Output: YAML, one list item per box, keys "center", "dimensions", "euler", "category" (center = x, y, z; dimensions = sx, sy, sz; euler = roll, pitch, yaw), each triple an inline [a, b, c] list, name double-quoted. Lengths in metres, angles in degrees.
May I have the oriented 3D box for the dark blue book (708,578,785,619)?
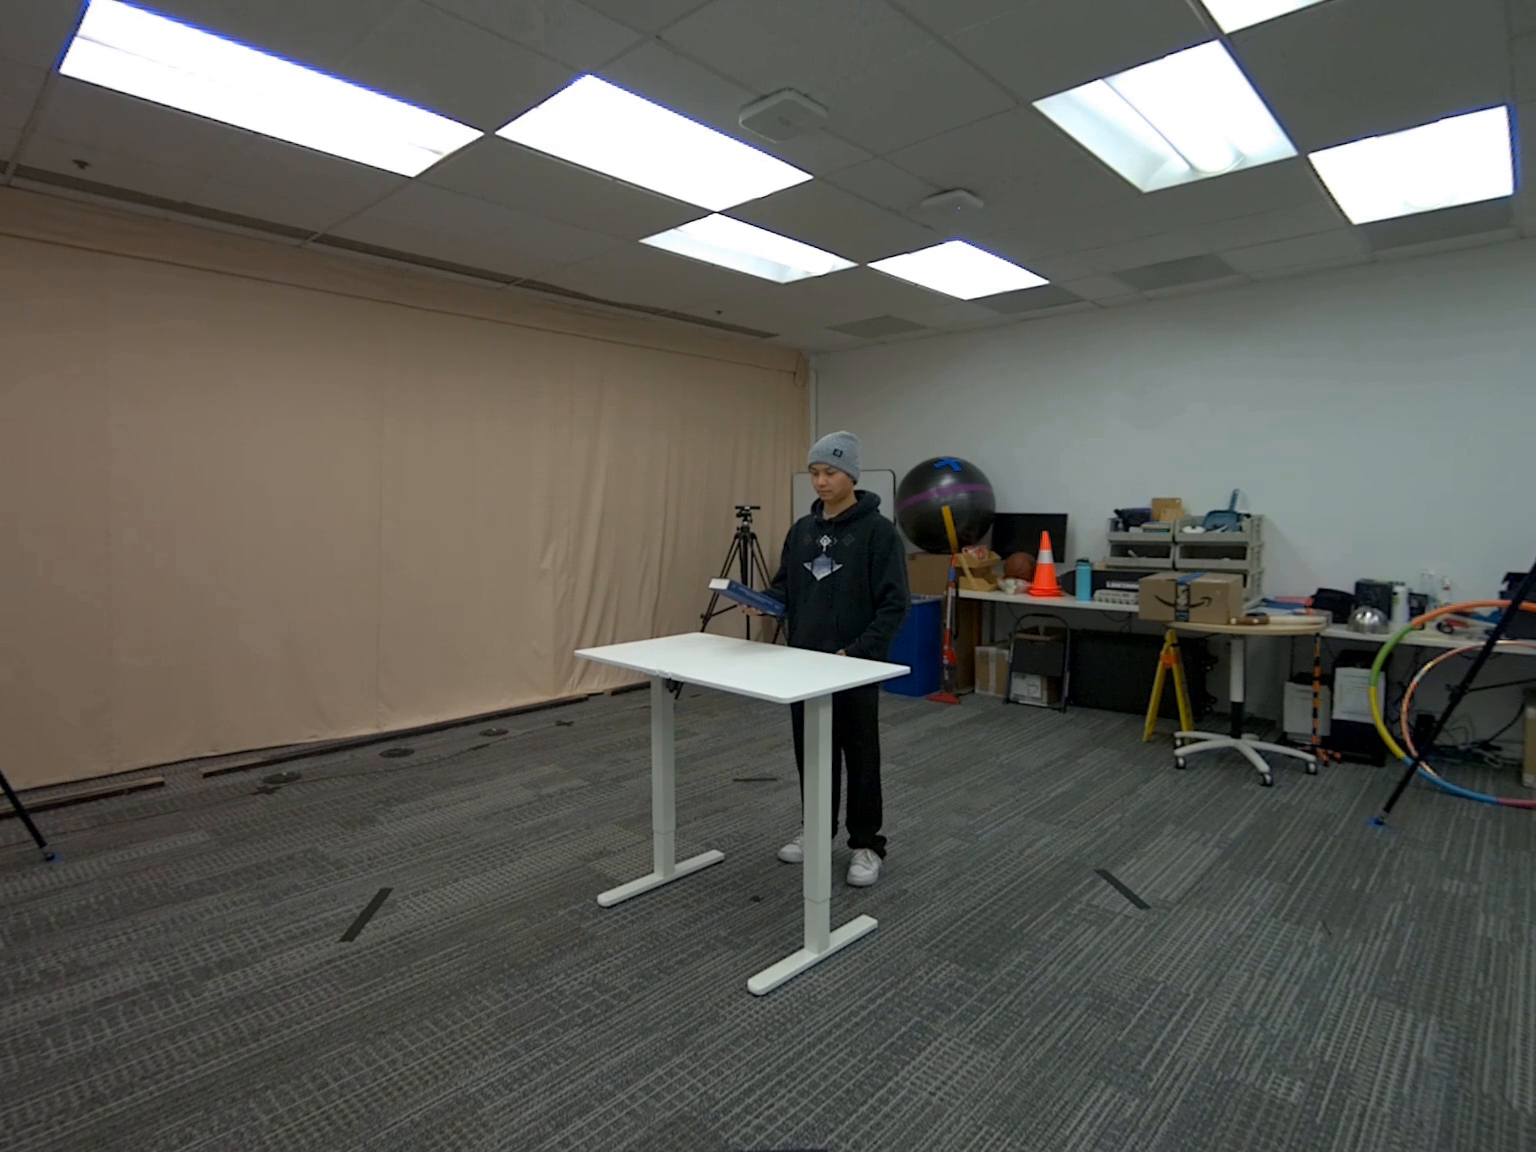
- center: [-0.076, 0.075, 3.049]
  dimensions: [0.238, 0.045, 0.168]
  euler: [26, -11, -26]
  category: "dark blue book"
